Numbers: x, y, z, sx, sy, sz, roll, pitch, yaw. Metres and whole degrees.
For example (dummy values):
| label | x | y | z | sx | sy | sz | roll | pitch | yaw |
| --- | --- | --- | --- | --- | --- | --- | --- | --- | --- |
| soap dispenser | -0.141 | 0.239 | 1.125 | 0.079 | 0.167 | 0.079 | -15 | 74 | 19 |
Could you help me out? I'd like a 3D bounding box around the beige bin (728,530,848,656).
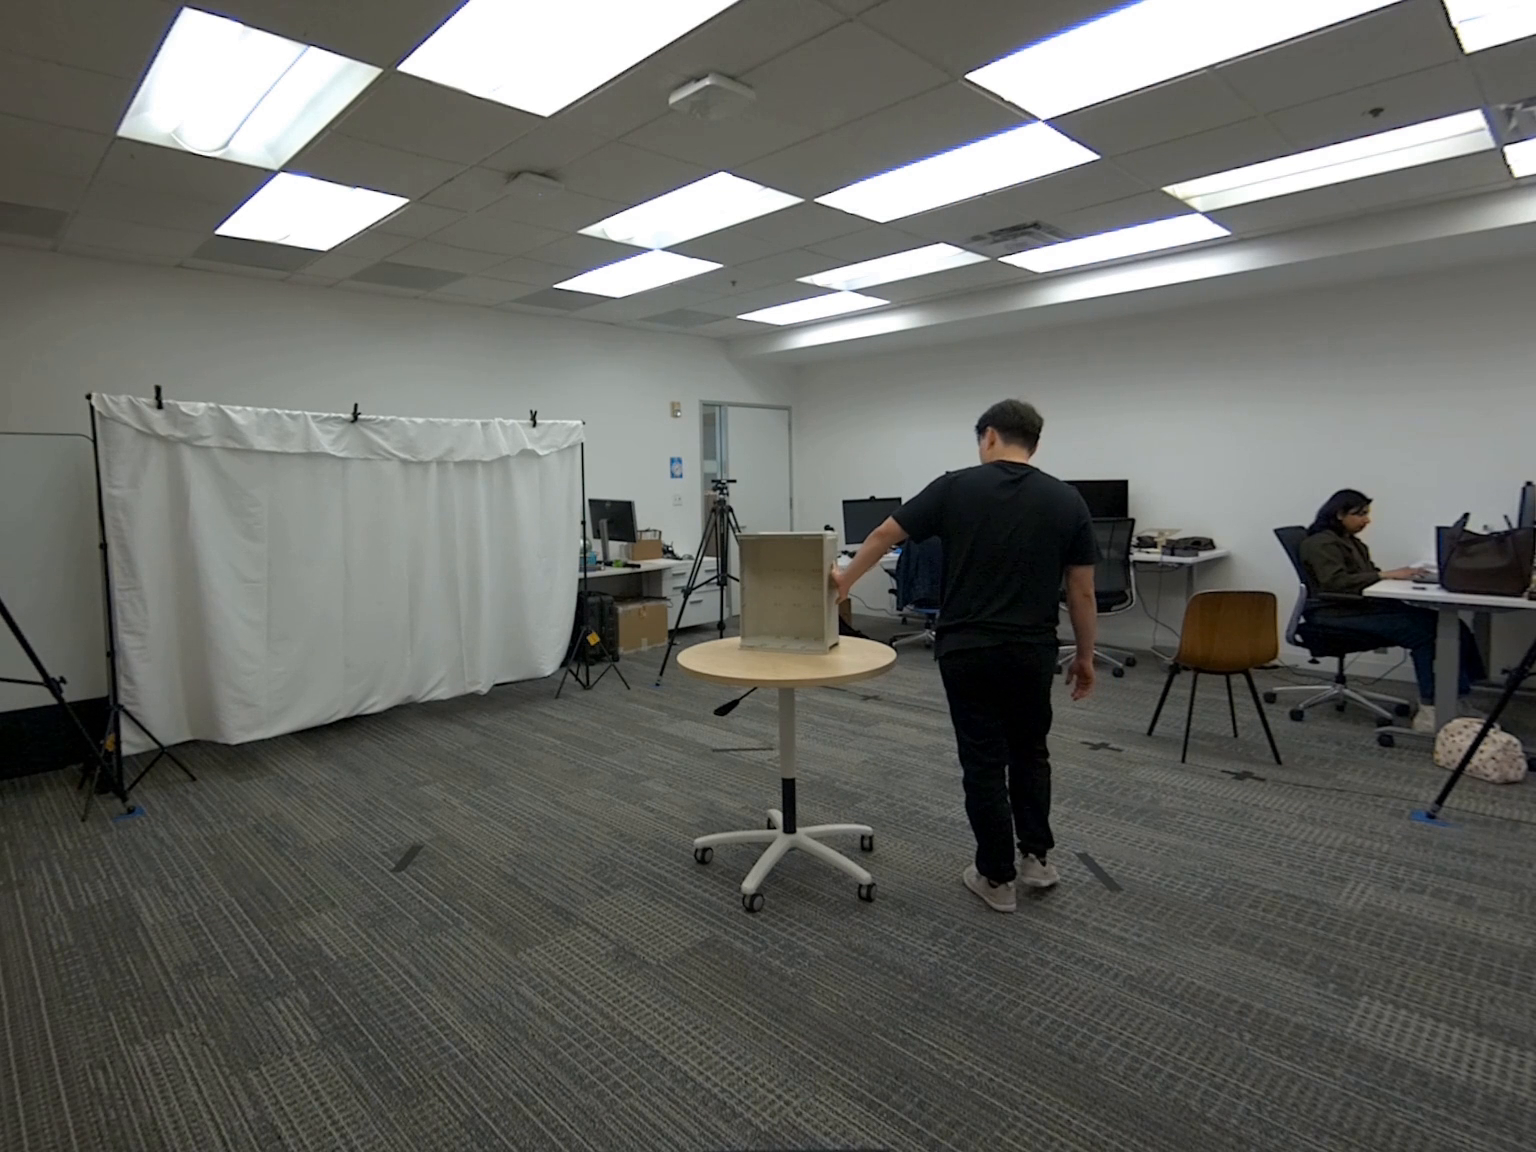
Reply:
| label | x | y | z | sx | sy | sz | roll | pitch | yaw |
| --- | --- | --- | --- | --- | --- | --- | --- | --- | --- |
| beige bin | 0.072 | 0.052 | 3.113 | 0.386 | 0.421 | 0.185 | 0 | 2 | 24 |
